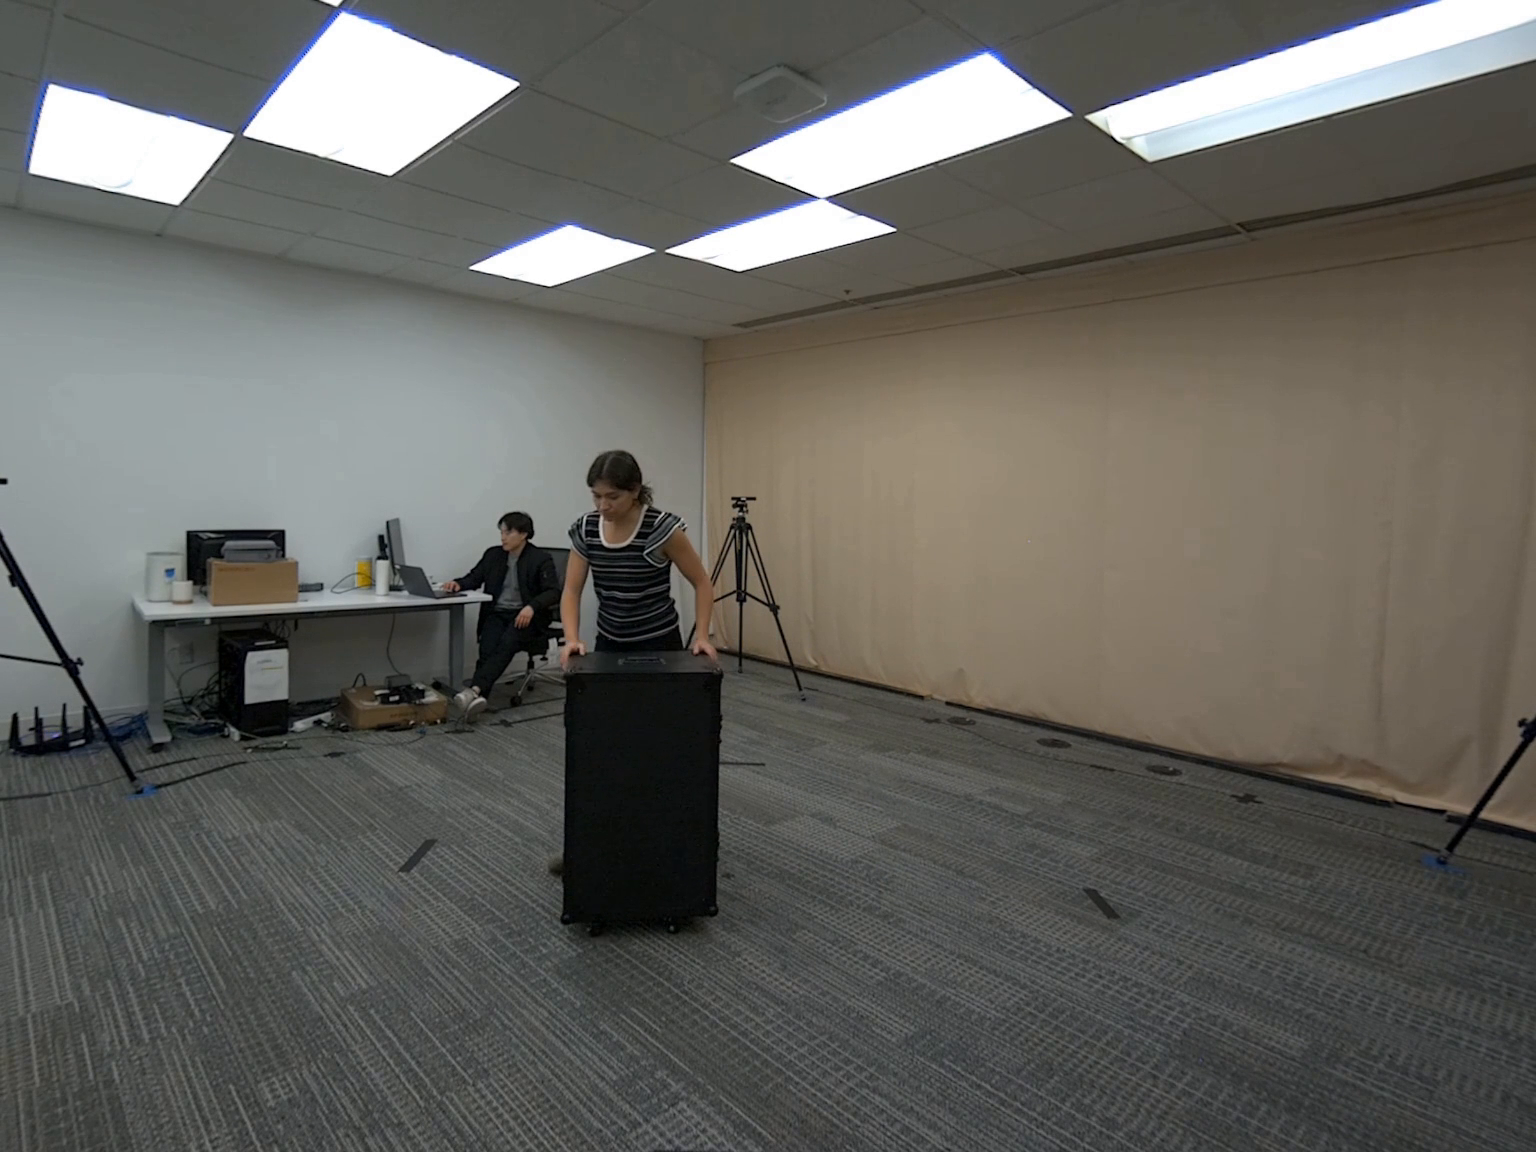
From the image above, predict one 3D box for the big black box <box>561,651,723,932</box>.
[{"bbox_3d":[-0.435,0.706,2.788,0.517,0.860,0.400,0,3,-10],"label":"big black box"}]
